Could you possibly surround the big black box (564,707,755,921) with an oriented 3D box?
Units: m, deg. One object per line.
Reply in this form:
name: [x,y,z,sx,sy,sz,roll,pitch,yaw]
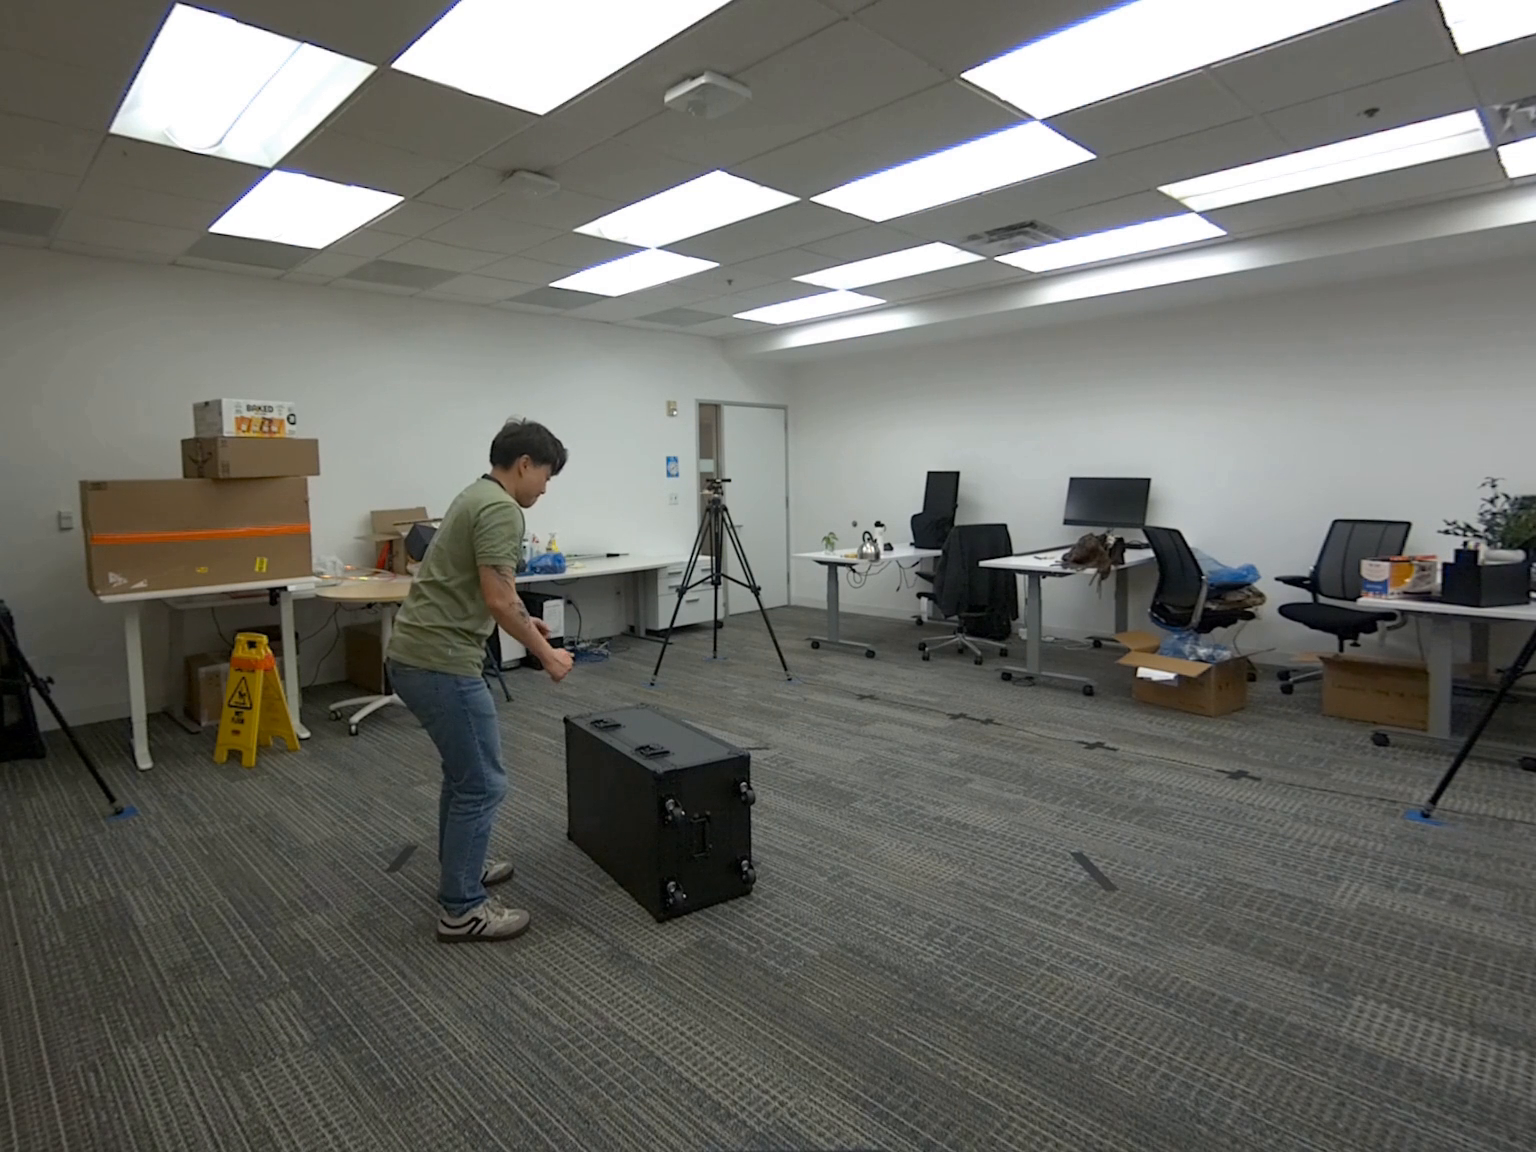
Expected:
big black box: [-0.392,0.813,3.079,0.387,0.519,0.887,-4,7,-33]
